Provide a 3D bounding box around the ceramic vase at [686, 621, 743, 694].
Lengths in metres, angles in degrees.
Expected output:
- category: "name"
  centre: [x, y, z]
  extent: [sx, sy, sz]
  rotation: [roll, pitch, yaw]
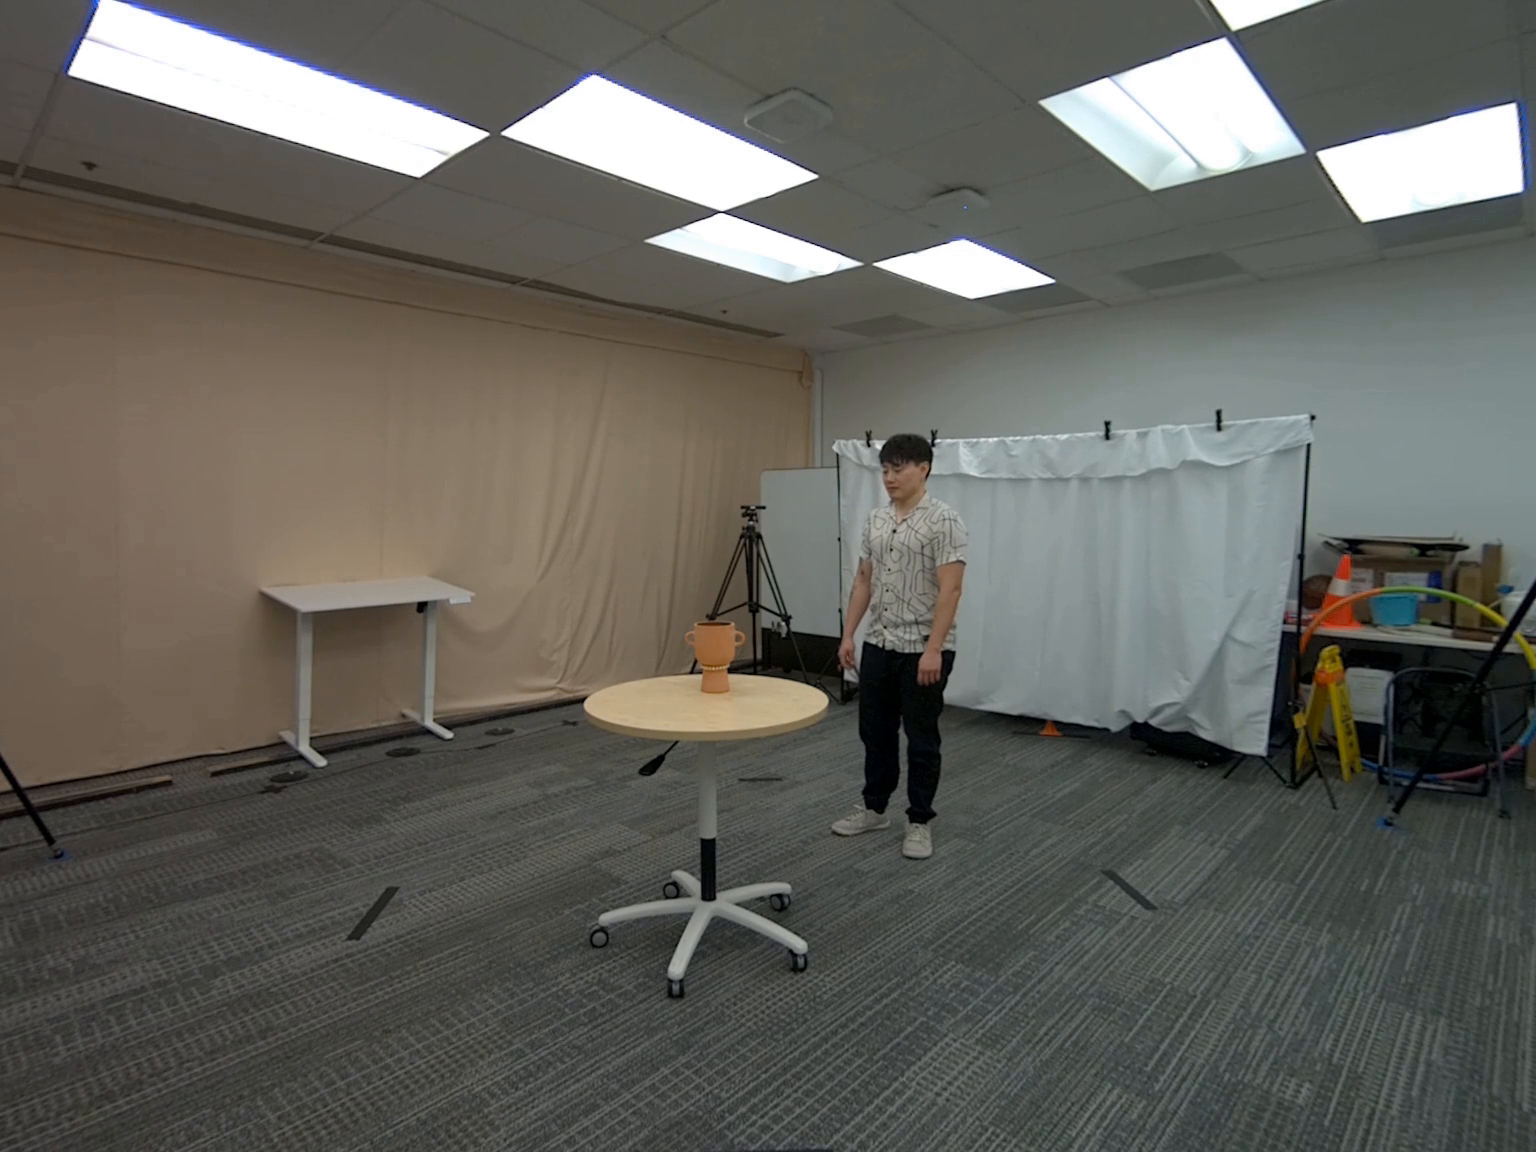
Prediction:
- category: "ceramic vase"
  centre: [-0.172, 0.269, 2.770]
  extent: [0.164, 0.219, 0.130]
  rotation: [3, 5, 42]
